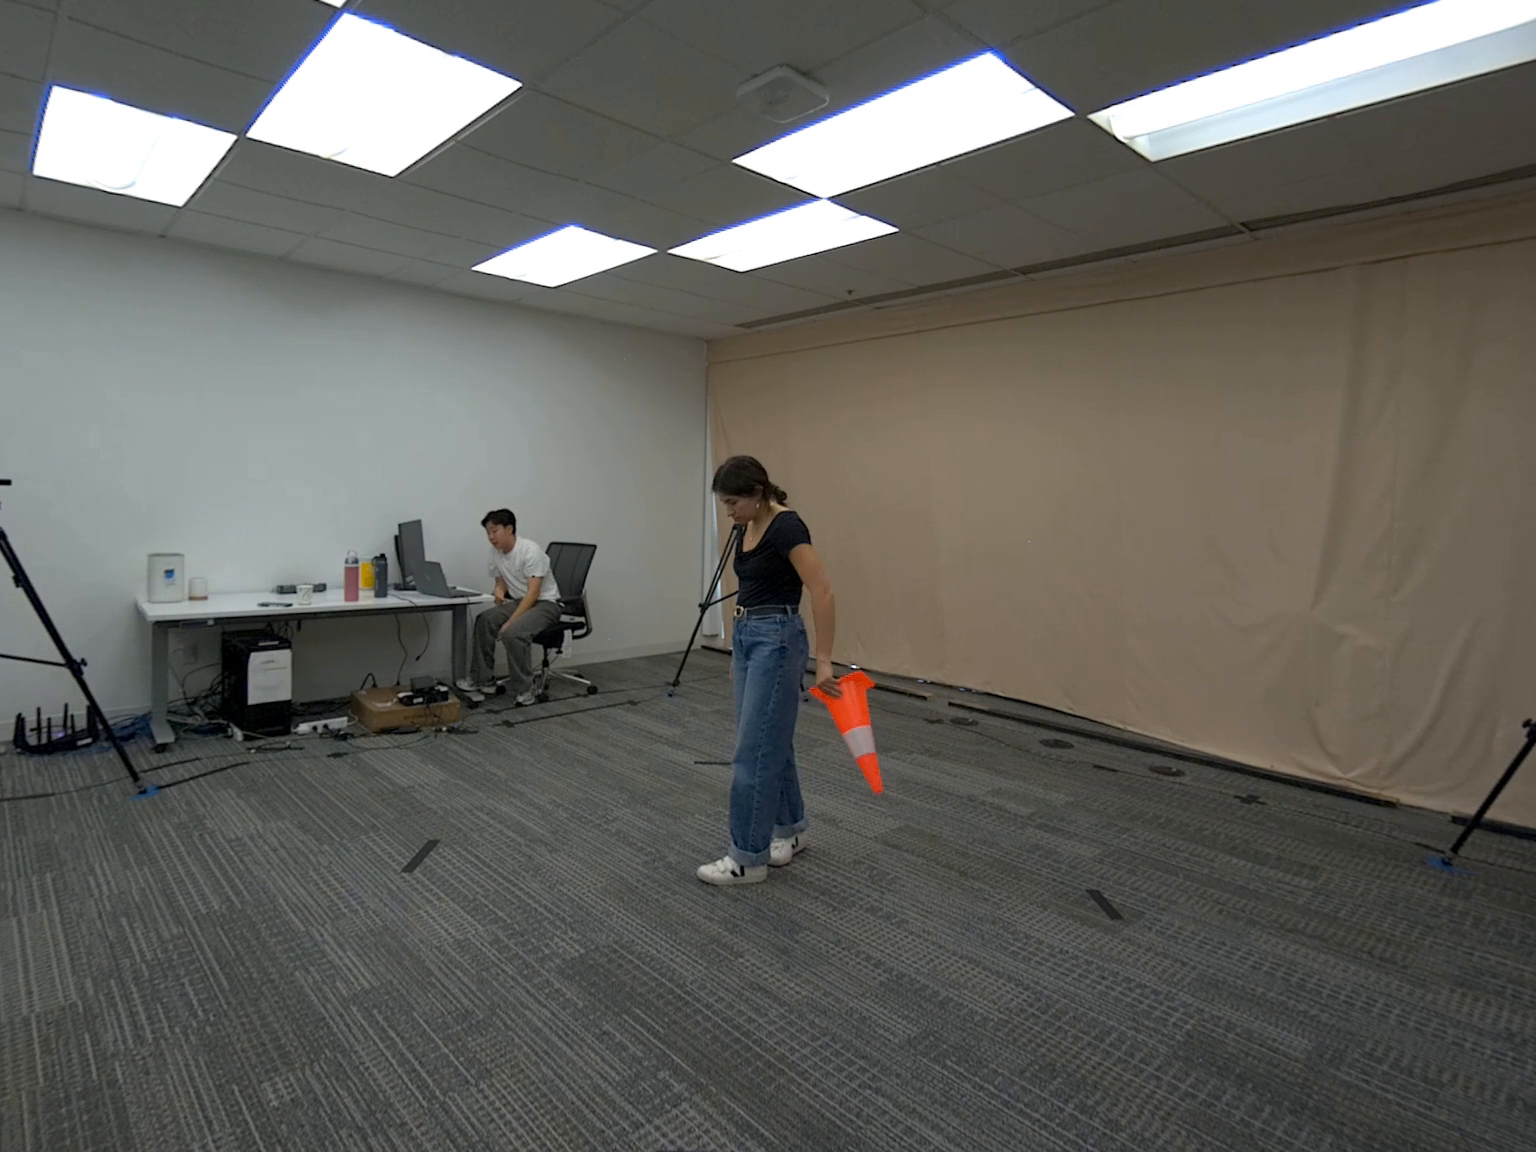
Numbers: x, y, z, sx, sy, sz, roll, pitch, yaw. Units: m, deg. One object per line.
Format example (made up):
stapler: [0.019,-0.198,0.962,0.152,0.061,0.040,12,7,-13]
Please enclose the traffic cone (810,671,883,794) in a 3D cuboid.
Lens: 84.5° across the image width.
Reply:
traffic cone: [0.280,0.545,2.888,0.204,0.393,0.199,-24,-29,13]
